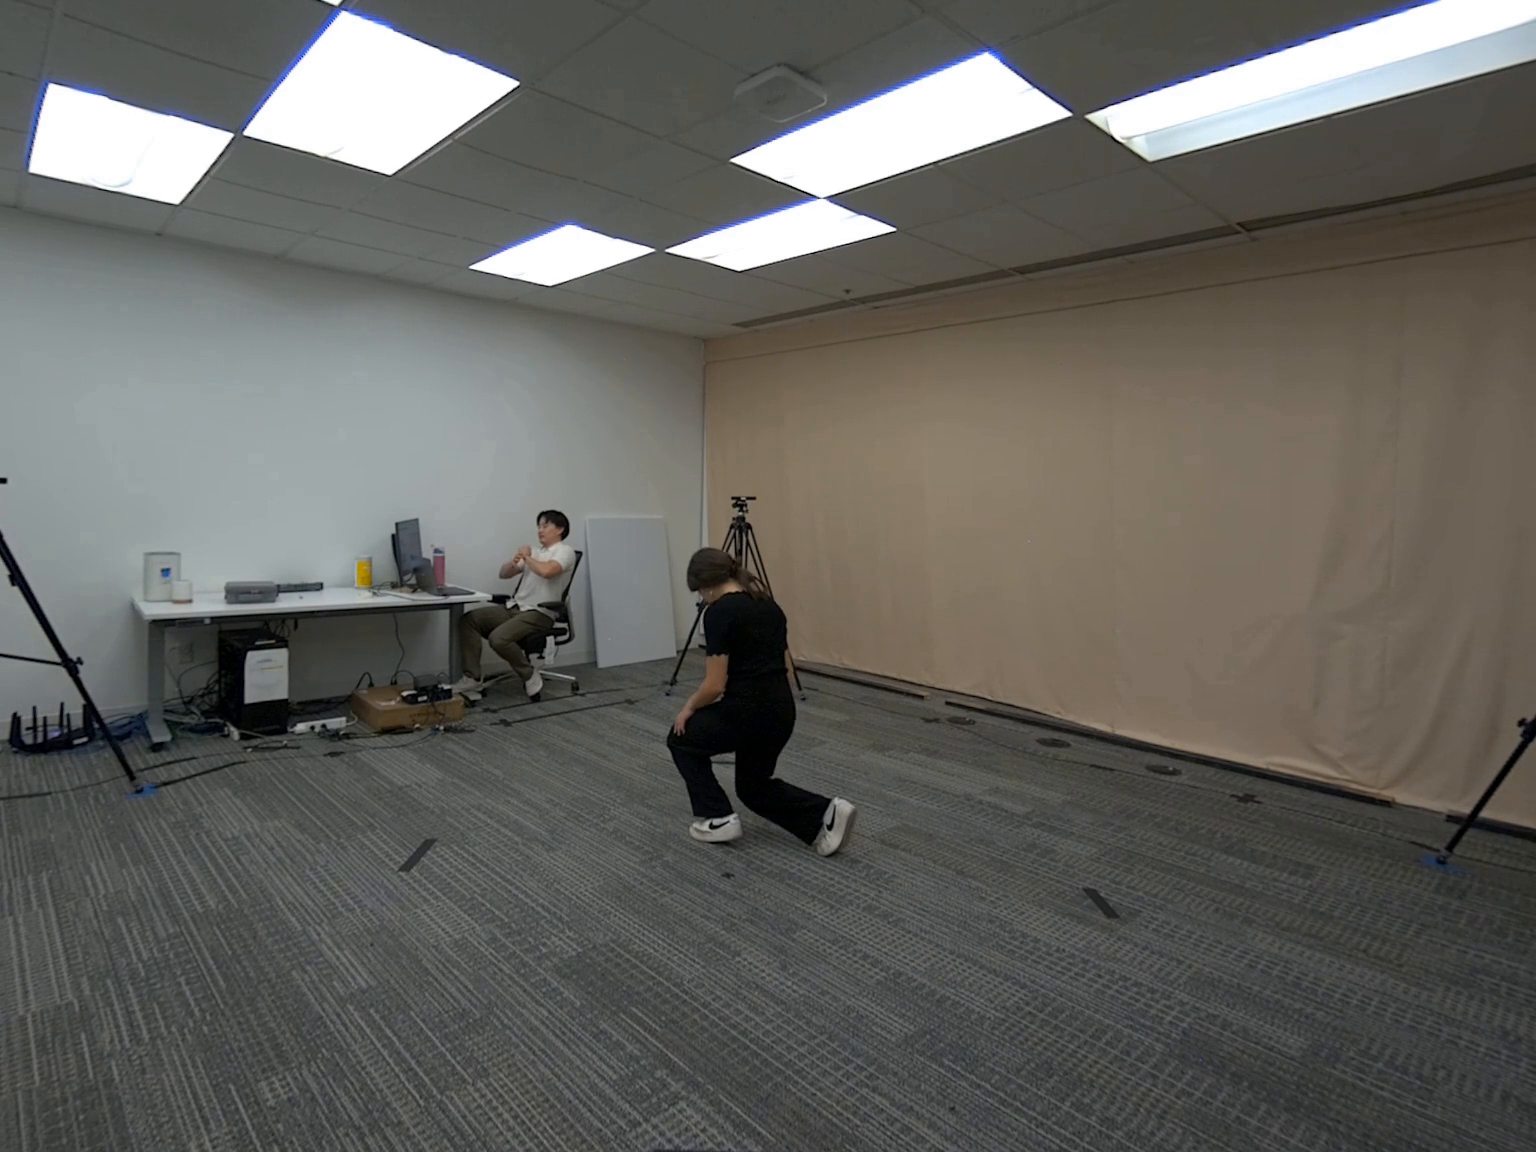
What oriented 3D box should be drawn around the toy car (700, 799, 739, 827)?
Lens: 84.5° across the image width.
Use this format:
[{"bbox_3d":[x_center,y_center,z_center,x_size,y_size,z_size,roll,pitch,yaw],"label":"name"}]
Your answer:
[{"bbox_3d":[-0.235,1.022,3.712,0.128,0.083,0.257,1,-5,-19],"label":"toy car"}]
